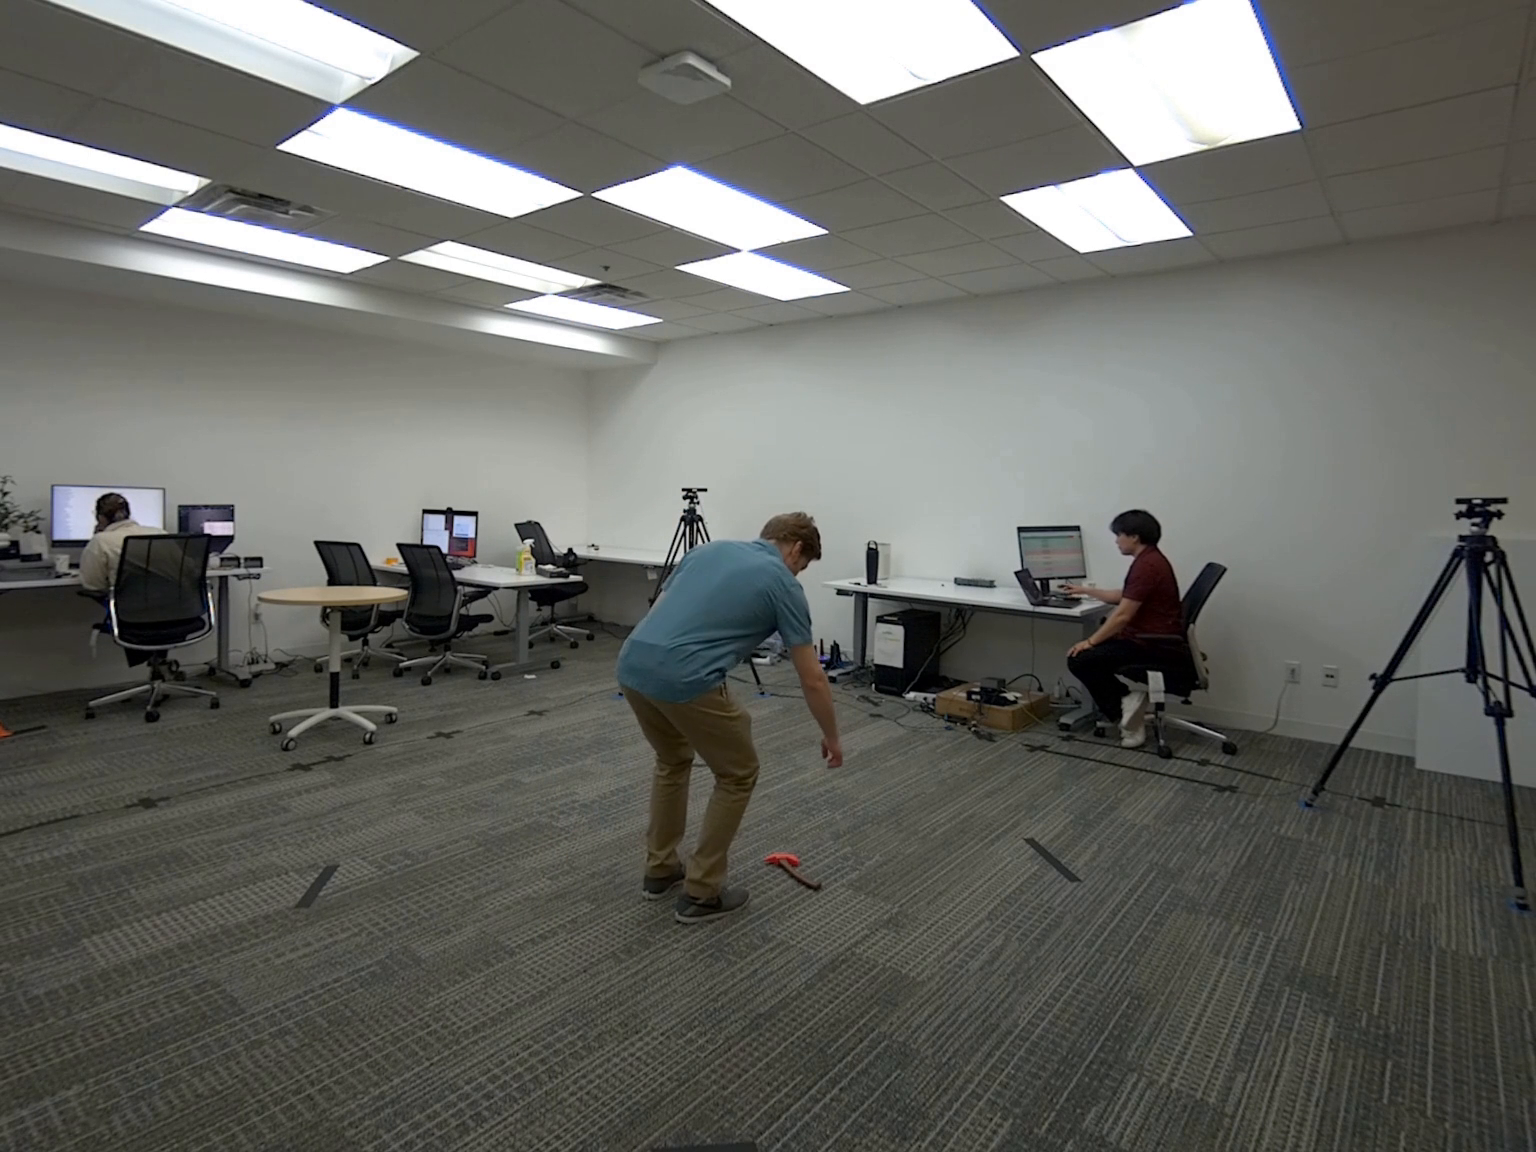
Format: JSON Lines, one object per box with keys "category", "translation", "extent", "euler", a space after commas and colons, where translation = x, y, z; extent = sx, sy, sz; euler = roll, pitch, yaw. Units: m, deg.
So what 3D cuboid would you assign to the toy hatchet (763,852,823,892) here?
{"category": "toy hatchet", "translation": [0.108, 1.066, 3.098], "extent": [0.127, 0.029, 0.280], "euler": [0, 7, -43]}
